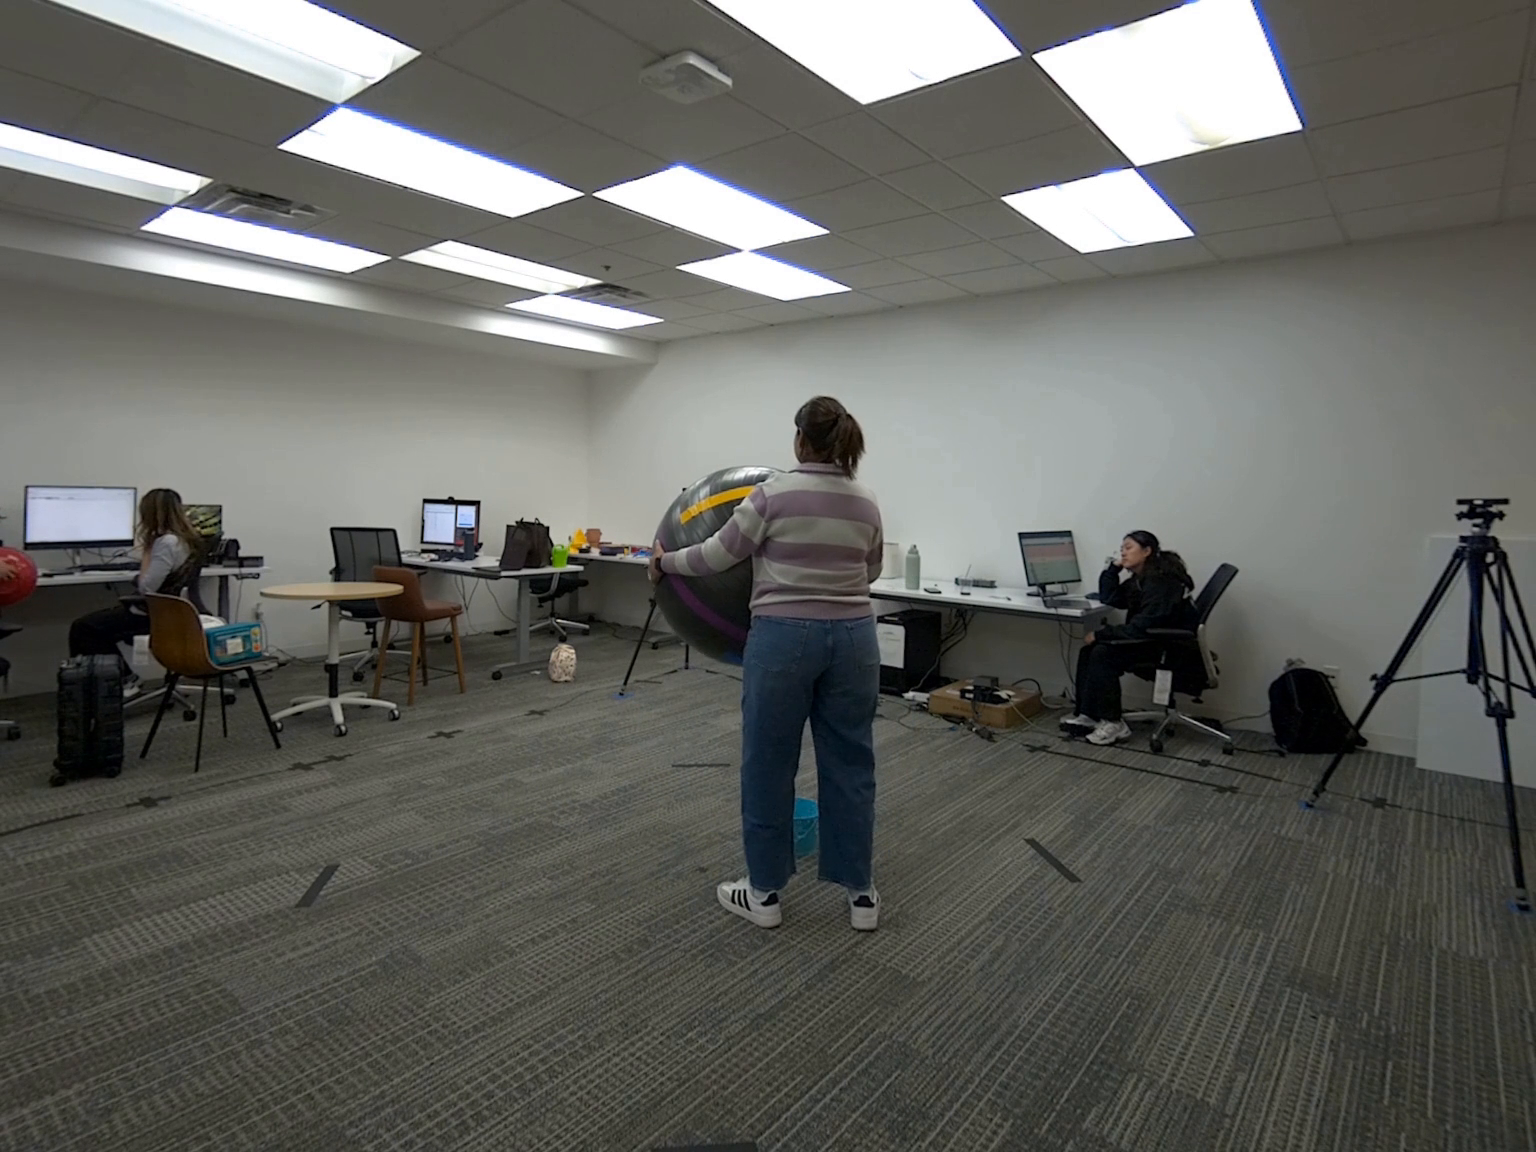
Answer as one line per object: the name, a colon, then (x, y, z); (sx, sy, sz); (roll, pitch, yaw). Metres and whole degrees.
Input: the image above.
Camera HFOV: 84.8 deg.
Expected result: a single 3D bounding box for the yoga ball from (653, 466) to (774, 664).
yoga ball: (-0.065, -0.038, 3.228); (0.757, 0.756, 0.762); (1, 4, -2)
